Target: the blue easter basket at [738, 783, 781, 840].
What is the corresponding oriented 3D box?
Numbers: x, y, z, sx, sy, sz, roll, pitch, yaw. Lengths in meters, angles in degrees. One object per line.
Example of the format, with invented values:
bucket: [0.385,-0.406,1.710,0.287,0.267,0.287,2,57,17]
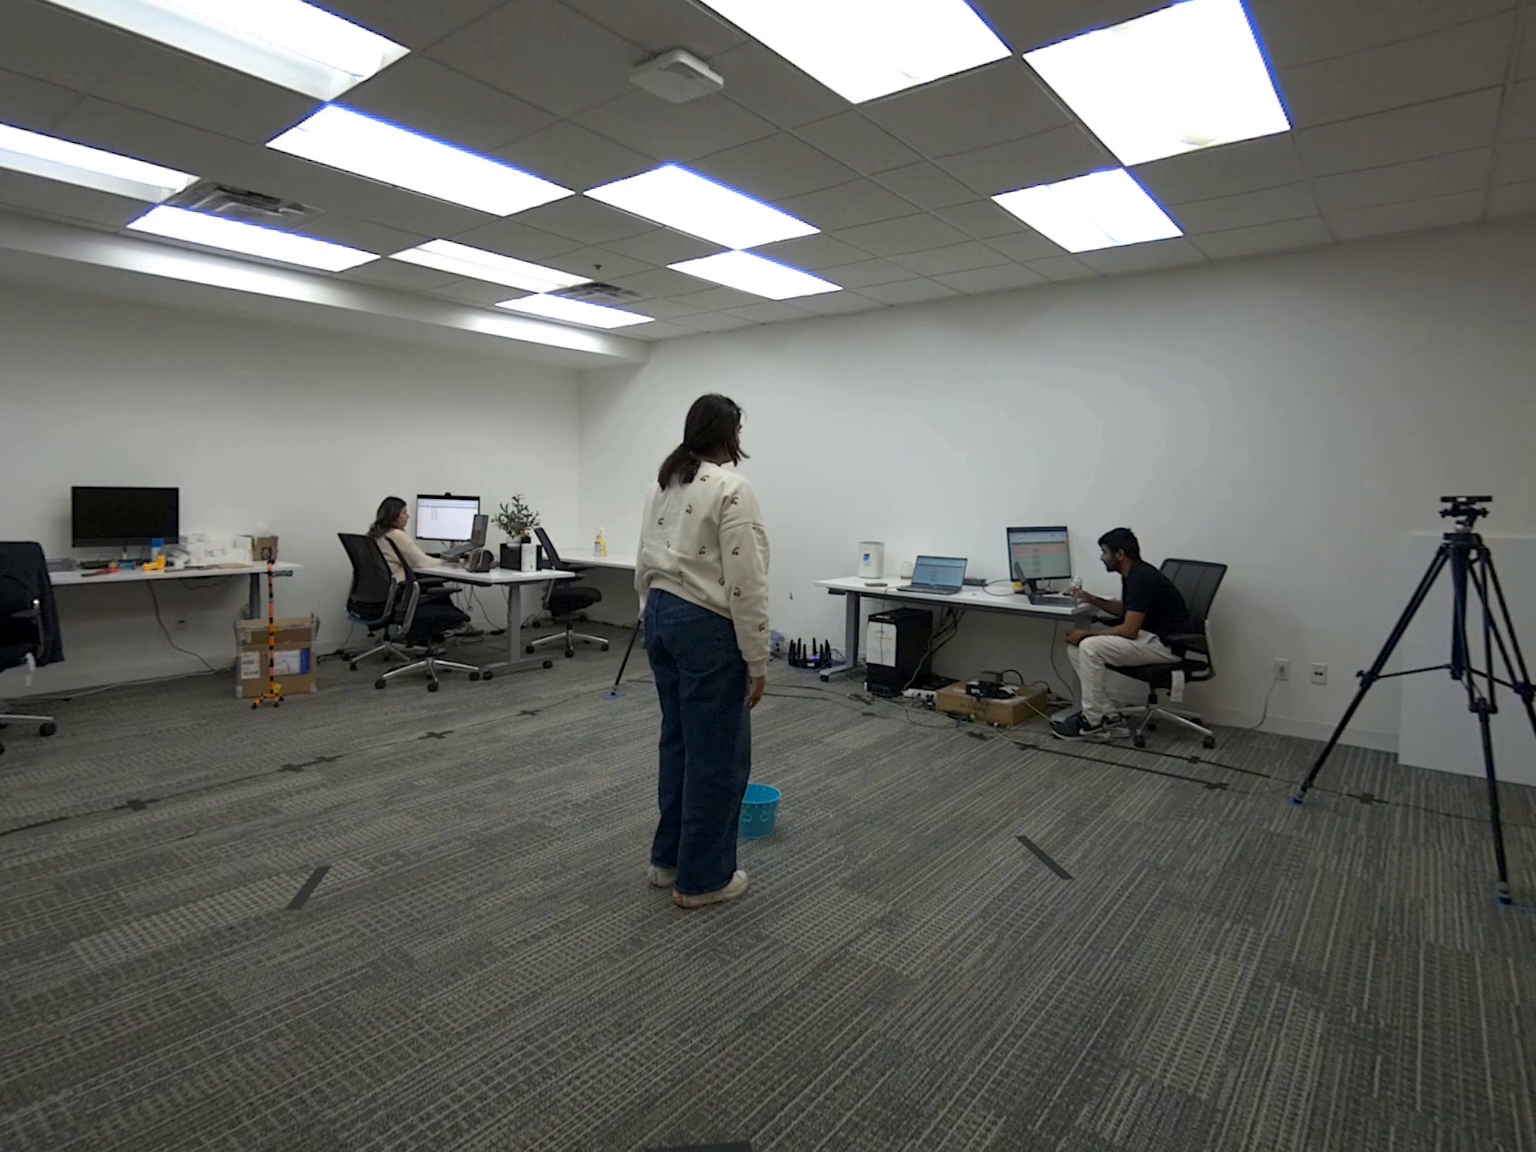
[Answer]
blue easter basket: [-0.078,0.951,3.478,0.243,0.155,0.245,2,5,-2]
